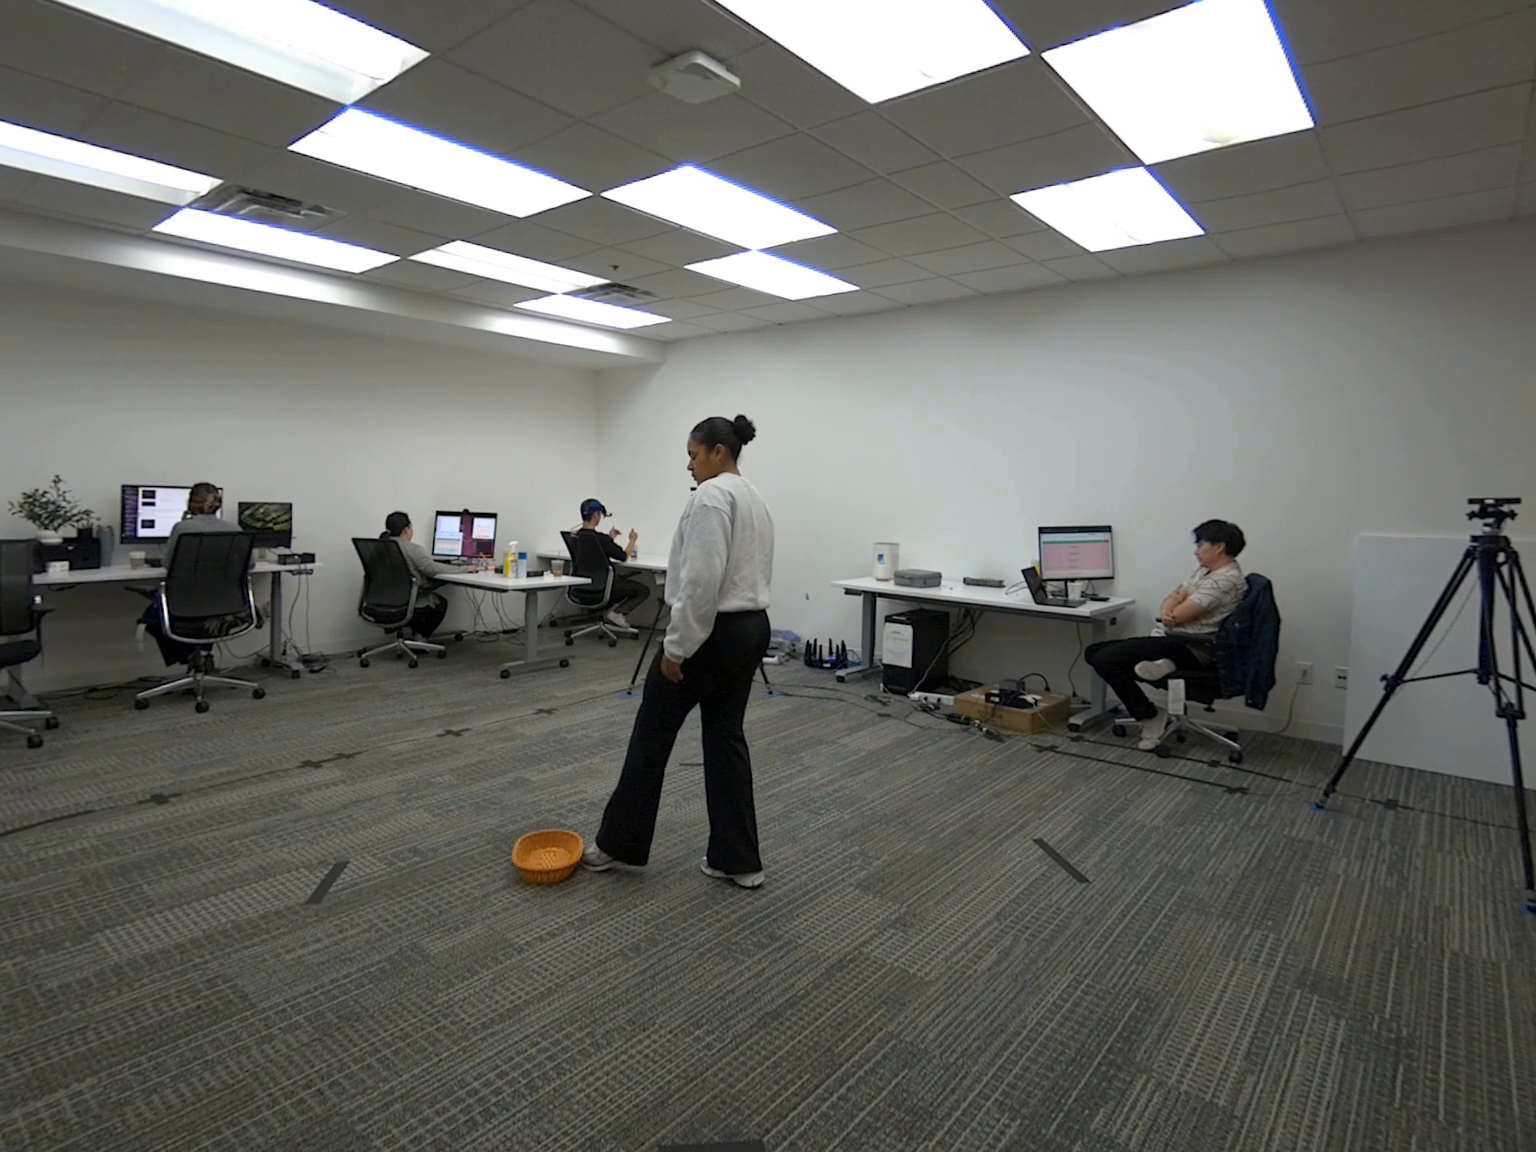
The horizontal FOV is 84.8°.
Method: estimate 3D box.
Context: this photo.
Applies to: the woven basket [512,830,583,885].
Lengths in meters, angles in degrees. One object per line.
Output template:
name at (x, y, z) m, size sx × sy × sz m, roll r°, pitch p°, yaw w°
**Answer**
woven basket at (-0.810, 1.020, 3.091) m, size 0.251 × 0.073 × 0.353 m, roll 0°, pitch 5°, yaw -4°
